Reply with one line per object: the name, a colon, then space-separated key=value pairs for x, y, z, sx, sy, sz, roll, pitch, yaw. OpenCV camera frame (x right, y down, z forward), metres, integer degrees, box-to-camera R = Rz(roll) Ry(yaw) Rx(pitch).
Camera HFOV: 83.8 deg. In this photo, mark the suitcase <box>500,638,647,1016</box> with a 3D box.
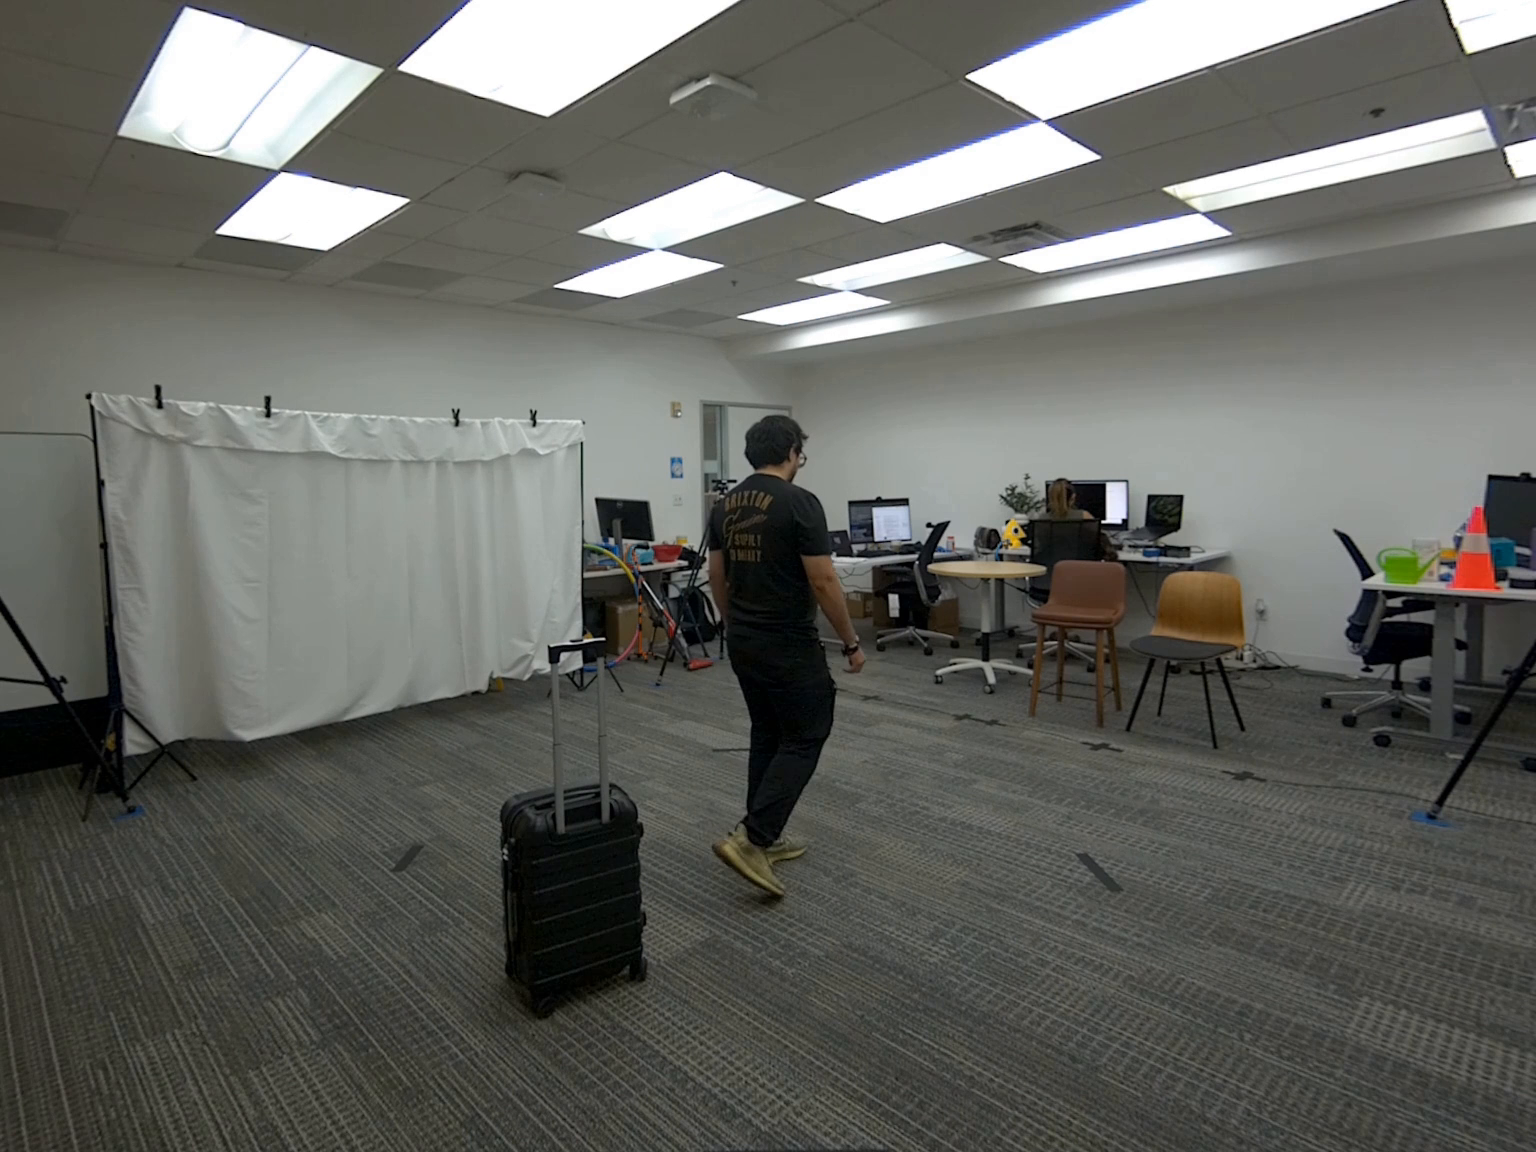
suitcase: x=-0.552 y=0.665 z=2.374 sx=0.375 sy=0.975 sz=0.264 roll=-3 pitch=4 yaw=-31
